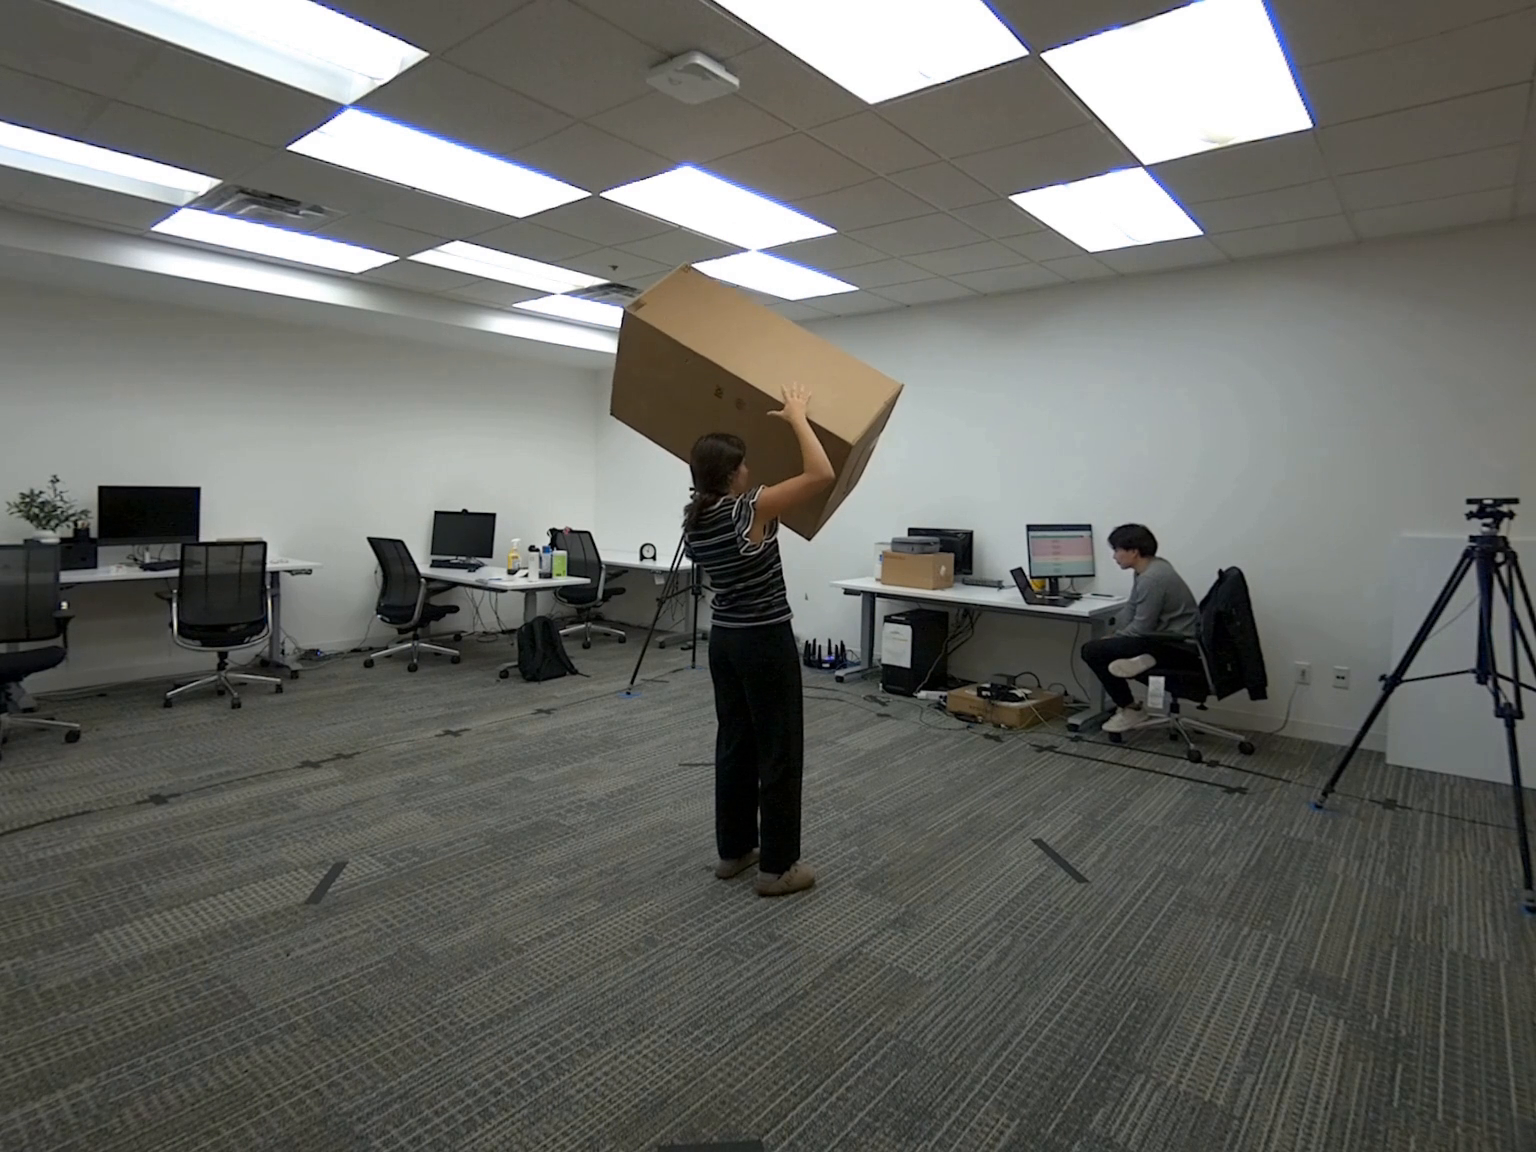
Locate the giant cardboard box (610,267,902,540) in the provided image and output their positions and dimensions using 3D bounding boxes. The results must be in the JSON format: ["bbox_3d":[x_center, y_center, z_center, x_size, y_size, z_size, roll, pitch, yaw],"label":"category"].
[{"bbox_3d":[-0.087,-0.702,3.406,1.045,0.567,0.426,33,53,13],"label":"giant cardboard box"}]
